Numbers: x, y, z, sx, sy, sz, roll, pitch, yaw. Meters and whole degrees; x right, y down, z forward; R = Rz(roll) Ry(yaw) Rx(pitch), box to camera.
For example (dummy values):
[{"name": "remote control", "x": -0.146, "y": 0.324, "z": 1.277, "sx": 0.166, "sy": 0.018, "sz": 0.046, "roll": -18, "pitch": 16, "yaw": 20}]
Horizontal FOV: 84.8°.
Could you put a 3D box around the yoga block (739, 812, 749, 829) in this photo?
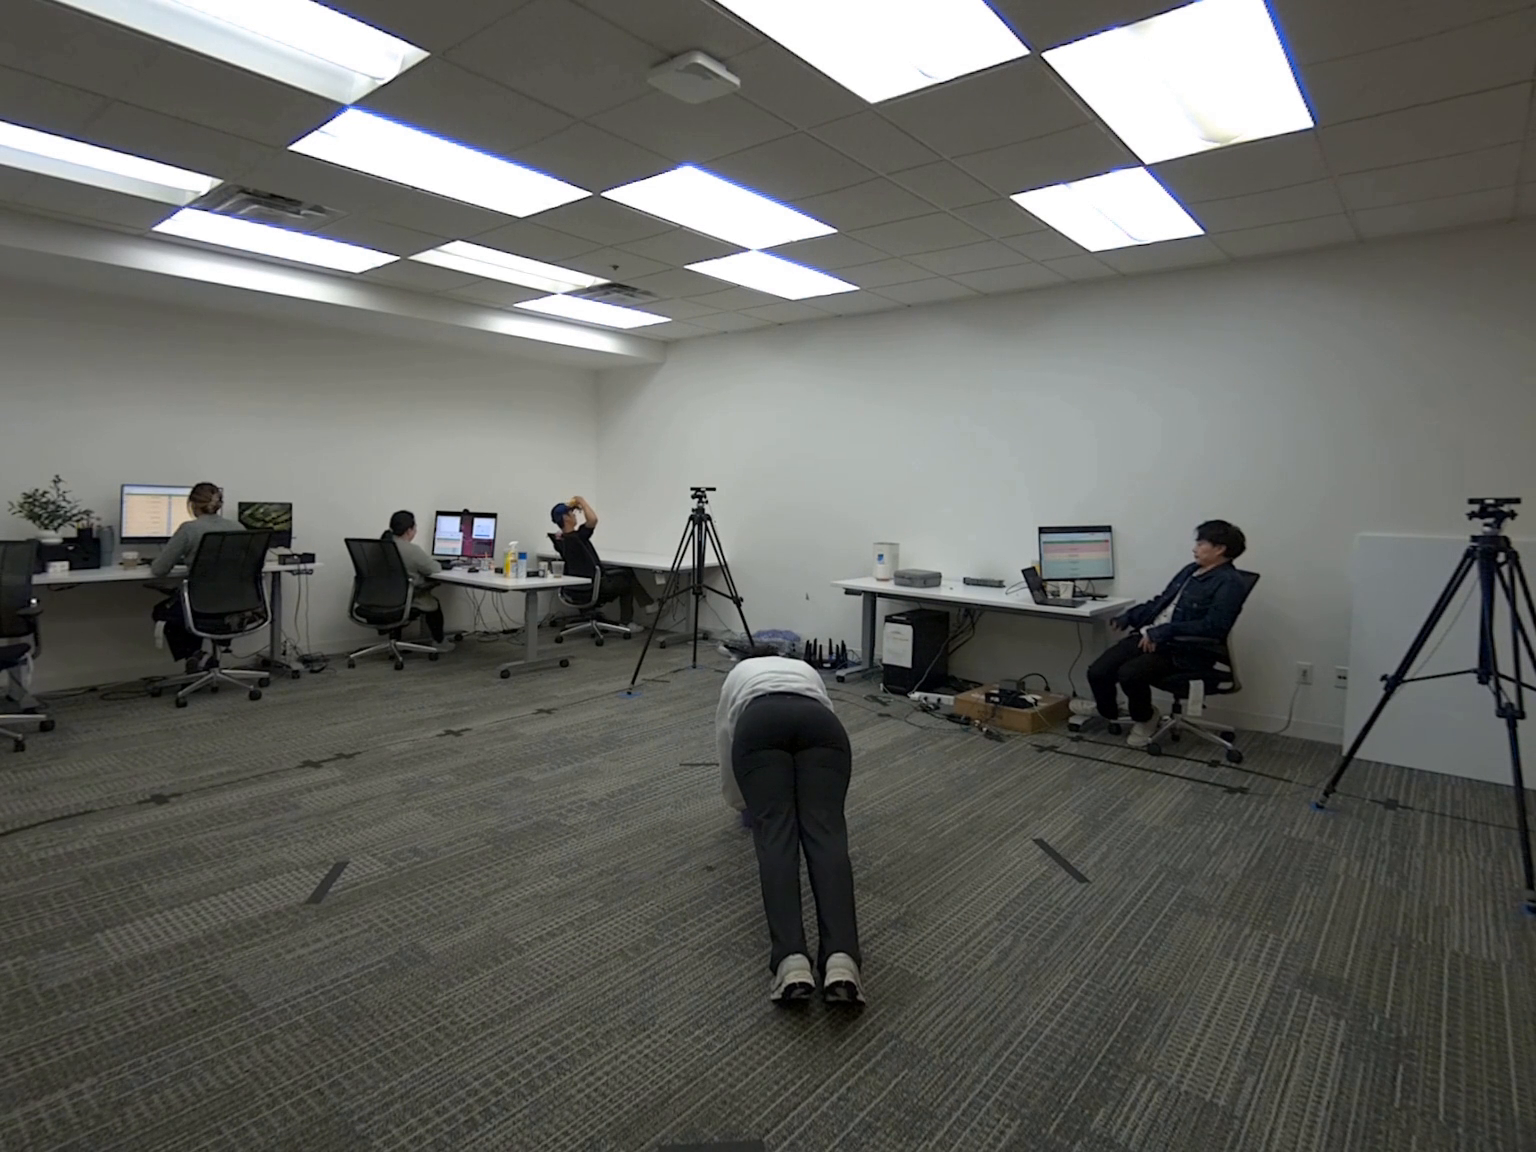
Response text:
[{"name": "yoga block", "x": 0.003, "y": 0.977, "z": 3.571, "sx": 0.229, "sy": 0.076, "sz": 0.150, "roll": -3, "pitch": 4, "yaw": -3}]
